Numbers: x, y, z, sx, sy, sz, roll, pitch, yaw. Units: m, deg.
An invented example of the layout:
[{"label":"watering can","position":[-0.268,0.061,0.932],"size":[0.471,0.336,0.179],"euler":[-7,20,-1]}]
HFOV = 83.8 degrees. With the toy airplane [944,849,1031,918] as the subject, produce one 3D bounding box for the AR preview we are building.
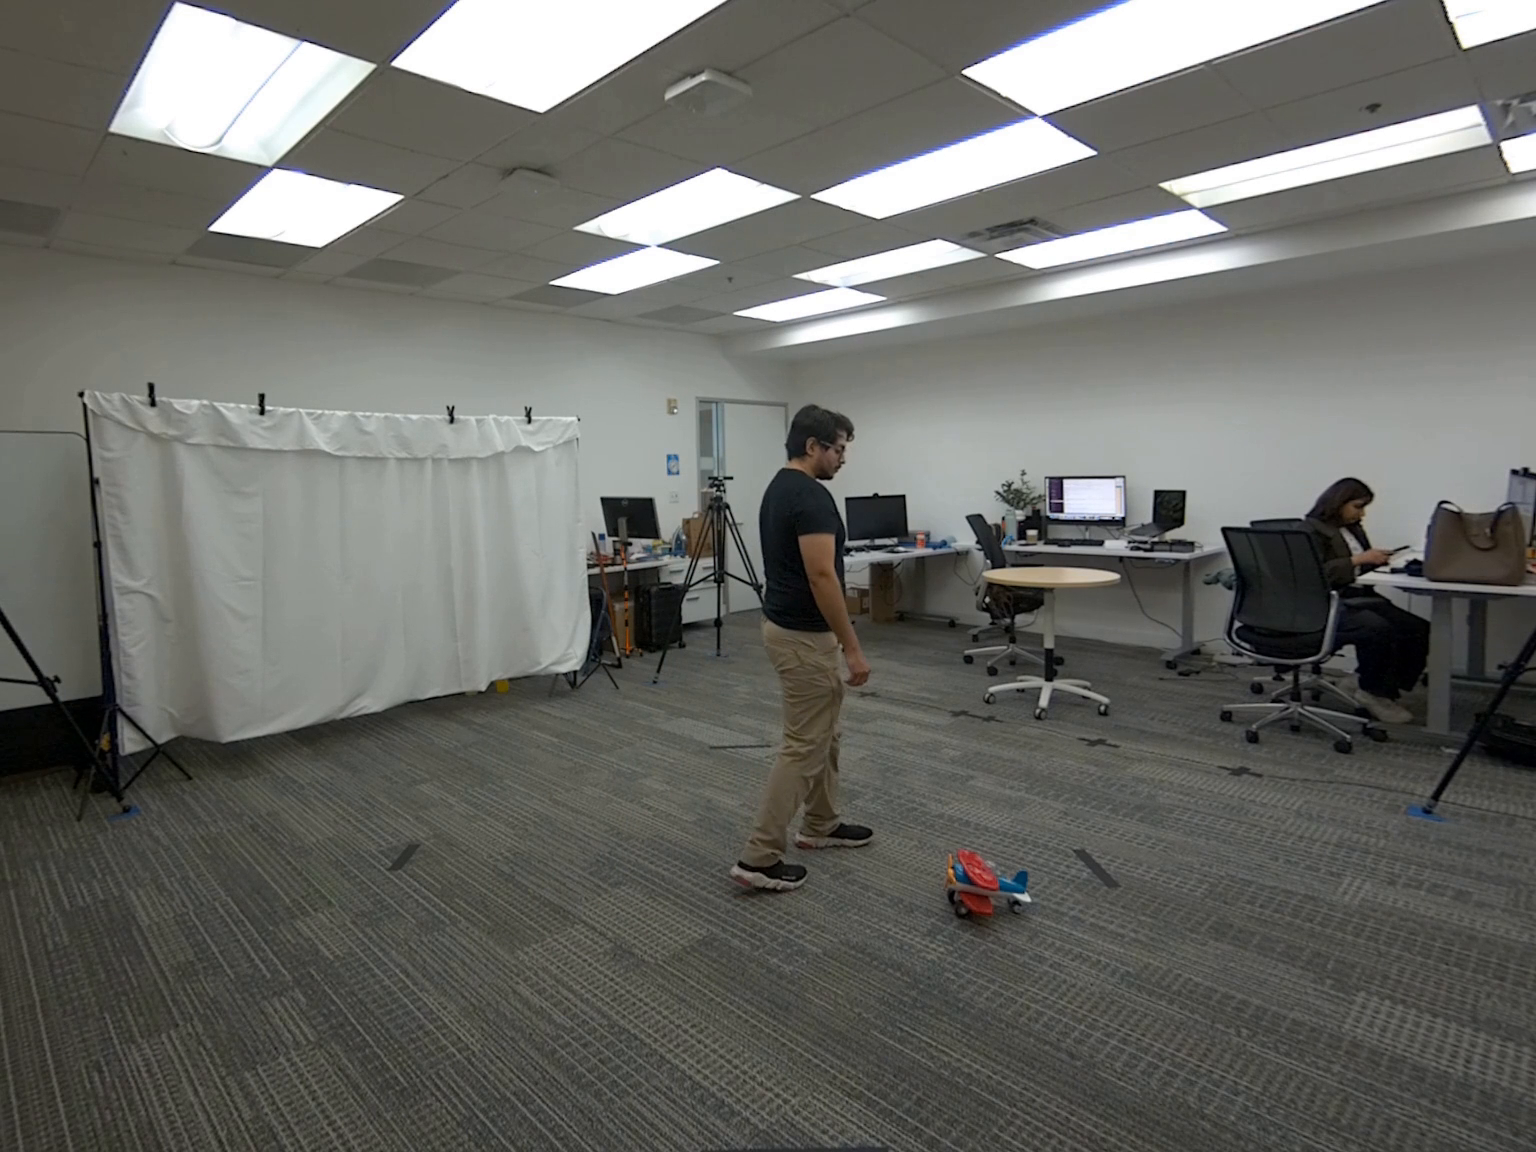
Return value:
[{"label":"toy airplane","position":[0.697,0.988,2.733],"size":[0.254,0.155,0.258],"euler":[-7,7,-28]}]
